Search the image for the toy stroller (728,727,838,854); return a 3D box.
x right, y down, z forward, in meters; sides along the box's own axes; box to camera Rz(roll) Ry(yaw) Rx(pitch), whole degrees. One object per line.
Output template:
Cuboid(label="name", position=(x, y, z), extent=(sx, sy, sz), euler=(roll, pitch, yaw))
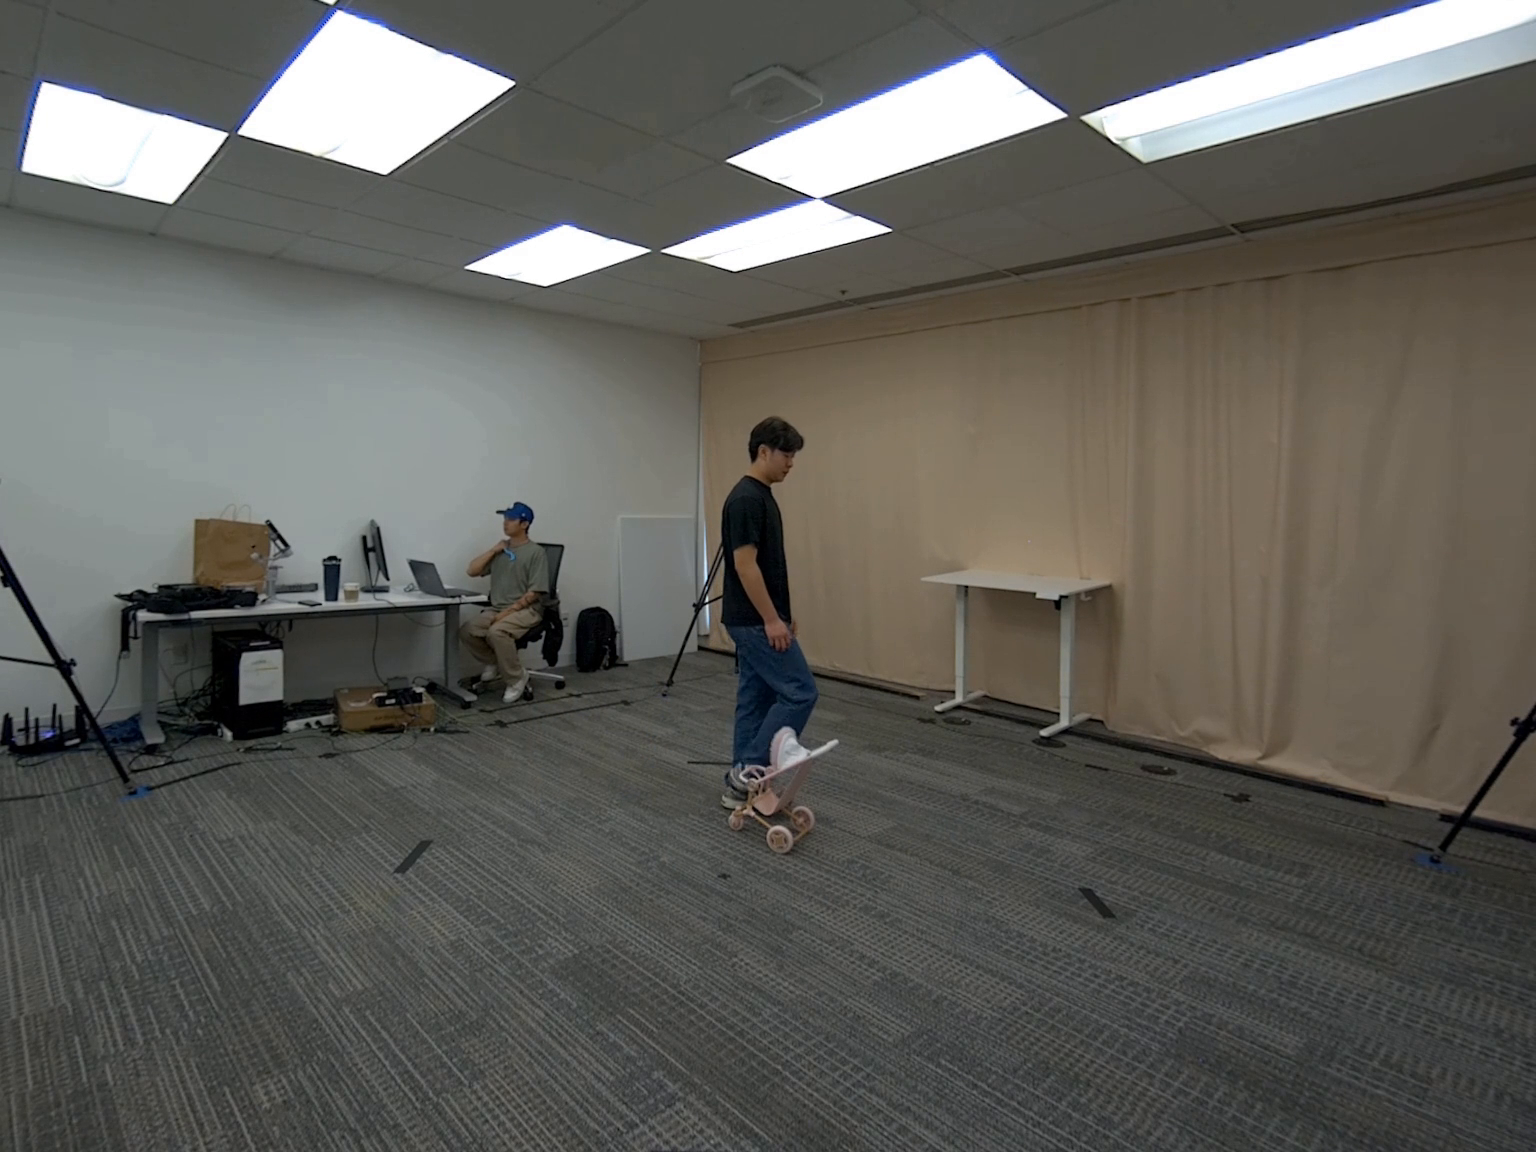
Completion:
Cuboid(label="toy stroller", position=(0.035, 0.859, 3.451), extent=(0.350, 0.532, 0.276), euler=(22, 11, 27))
